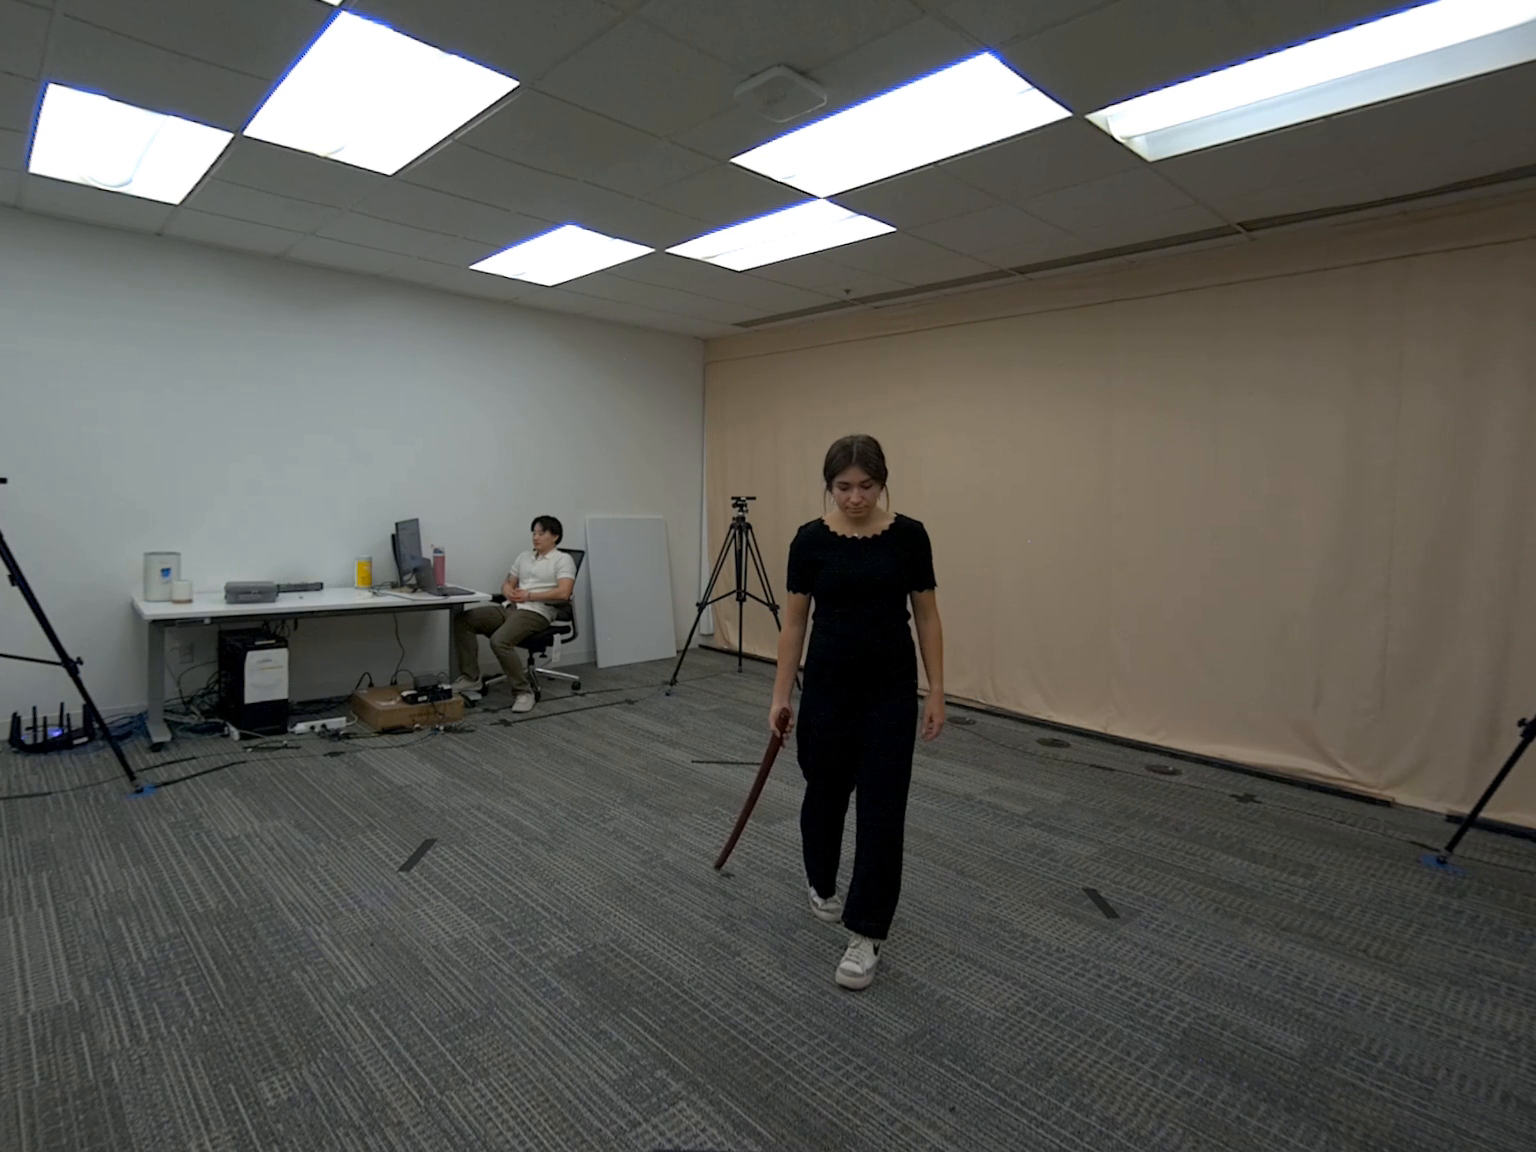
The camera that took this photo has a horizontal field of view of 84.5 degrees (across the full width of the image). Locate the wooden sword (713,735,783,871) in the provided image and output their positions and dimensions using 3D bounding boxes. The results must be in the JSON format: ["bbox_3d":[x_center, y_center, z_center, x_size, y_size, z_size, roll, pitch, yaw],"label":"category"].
[{"bbox_3d":[-0.073,0.758,2.822,0.024,1.010,0.053,-13,52,-29],"label":"wooden sword"}]
